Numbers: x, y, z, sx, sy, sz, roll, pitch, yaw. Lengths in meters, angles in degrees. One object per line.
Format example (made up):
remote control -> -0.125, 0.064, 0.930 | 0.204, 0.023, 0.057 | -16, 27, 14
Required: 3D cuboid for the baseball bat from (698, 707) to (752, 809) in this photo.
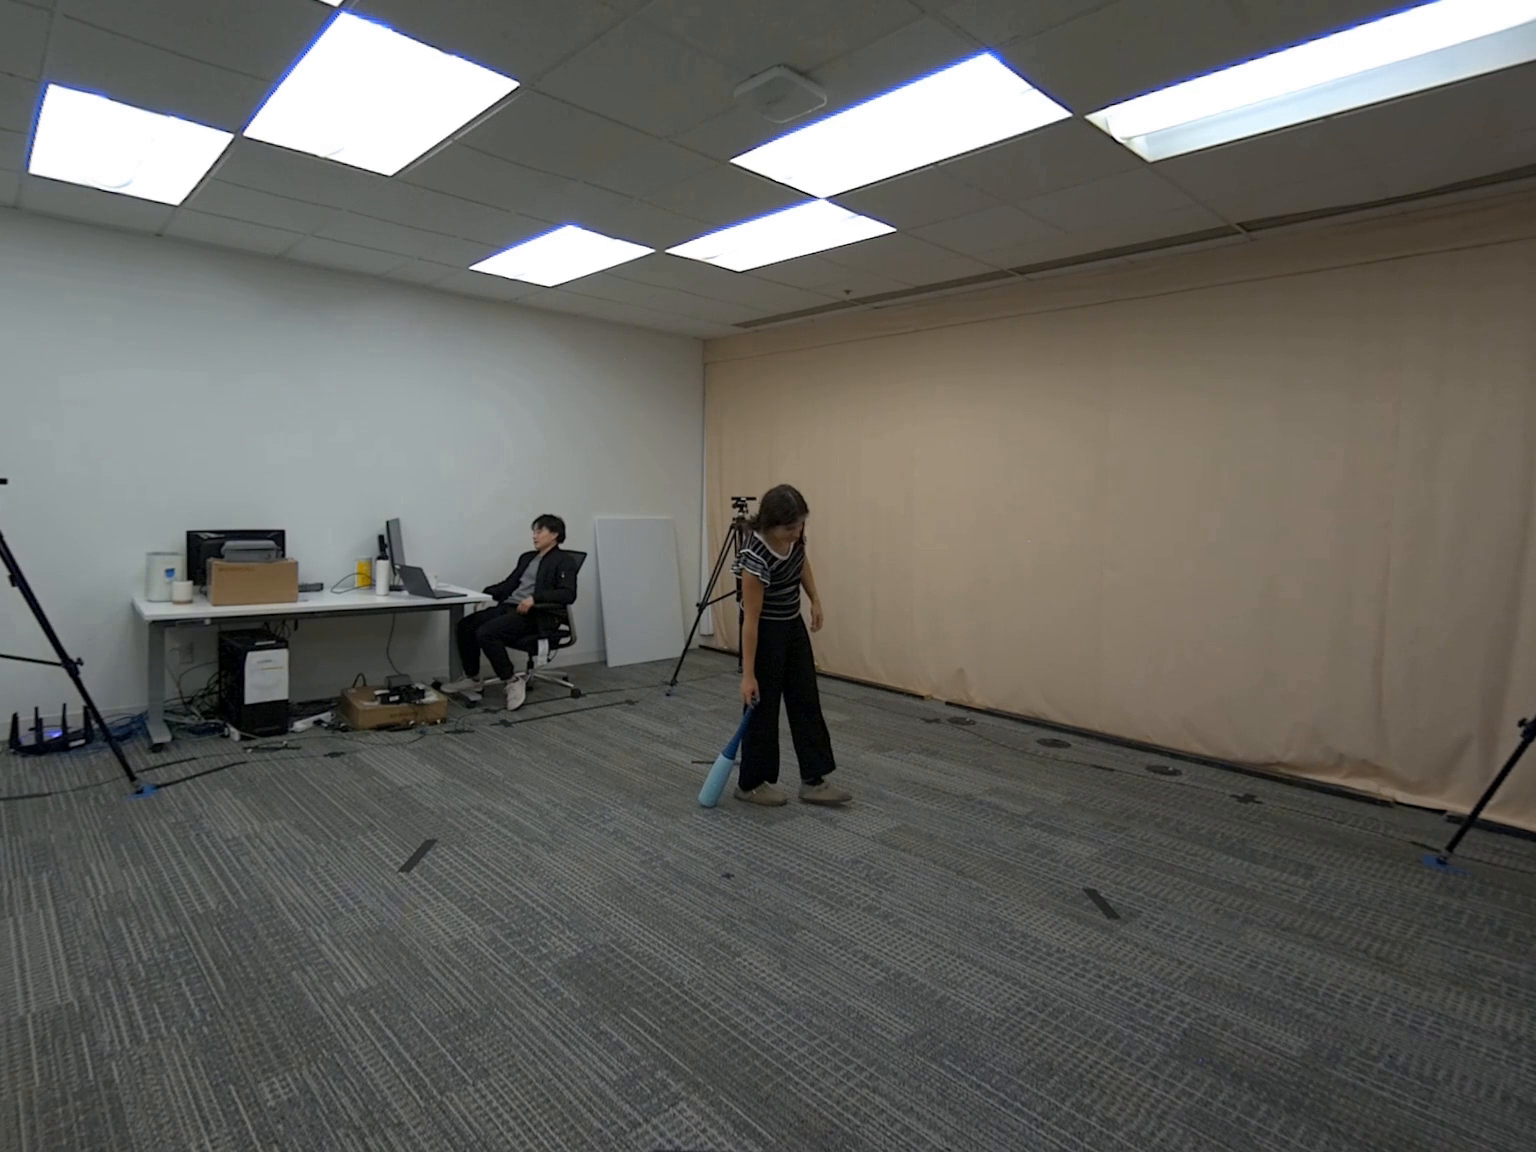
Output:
baseball bat -> -0.178, 0.792, 3.772 | 0.088, 0.541, 0.090 | 24, 9, -6
